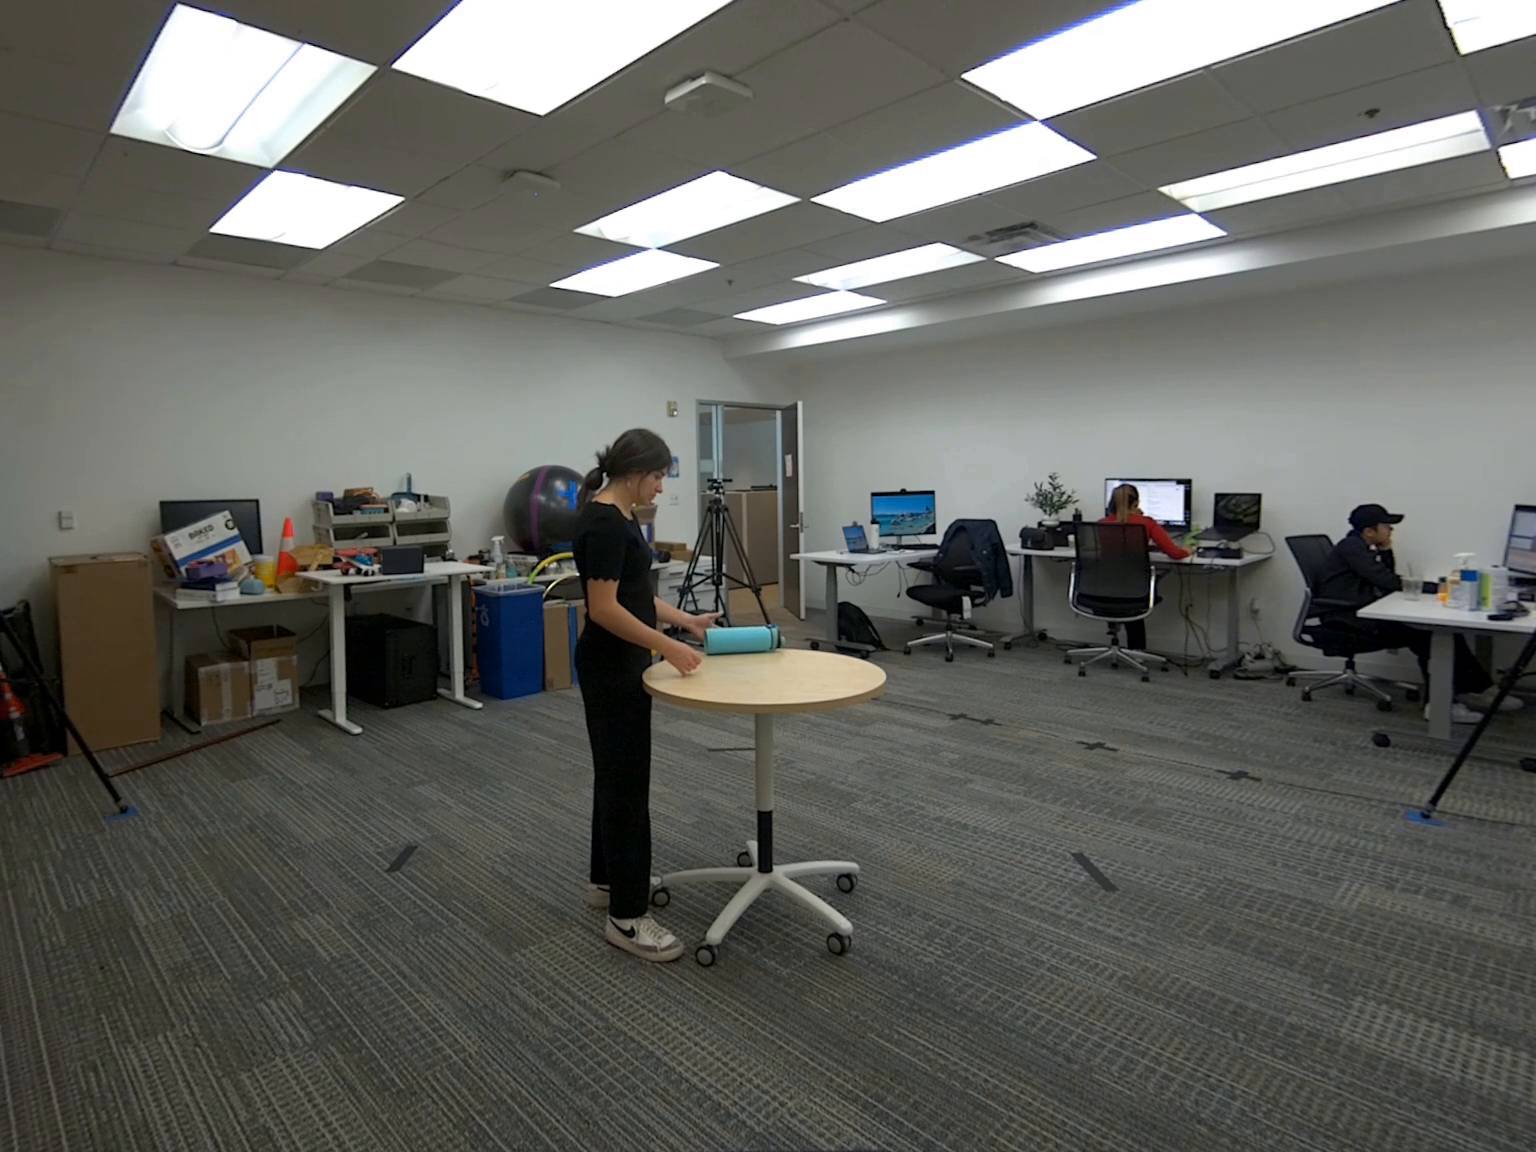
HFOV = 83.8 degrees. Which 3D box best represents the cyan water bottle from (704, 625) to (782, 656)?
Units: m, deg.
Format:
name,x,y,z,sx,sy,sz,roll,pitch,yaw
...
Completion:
name,x,y,z,sx,sy,sz,roll,pitch,yaw
cyan water bottle,-0.080,0.224,3.011,0.280,0.092,0.094,-3,5,-13
